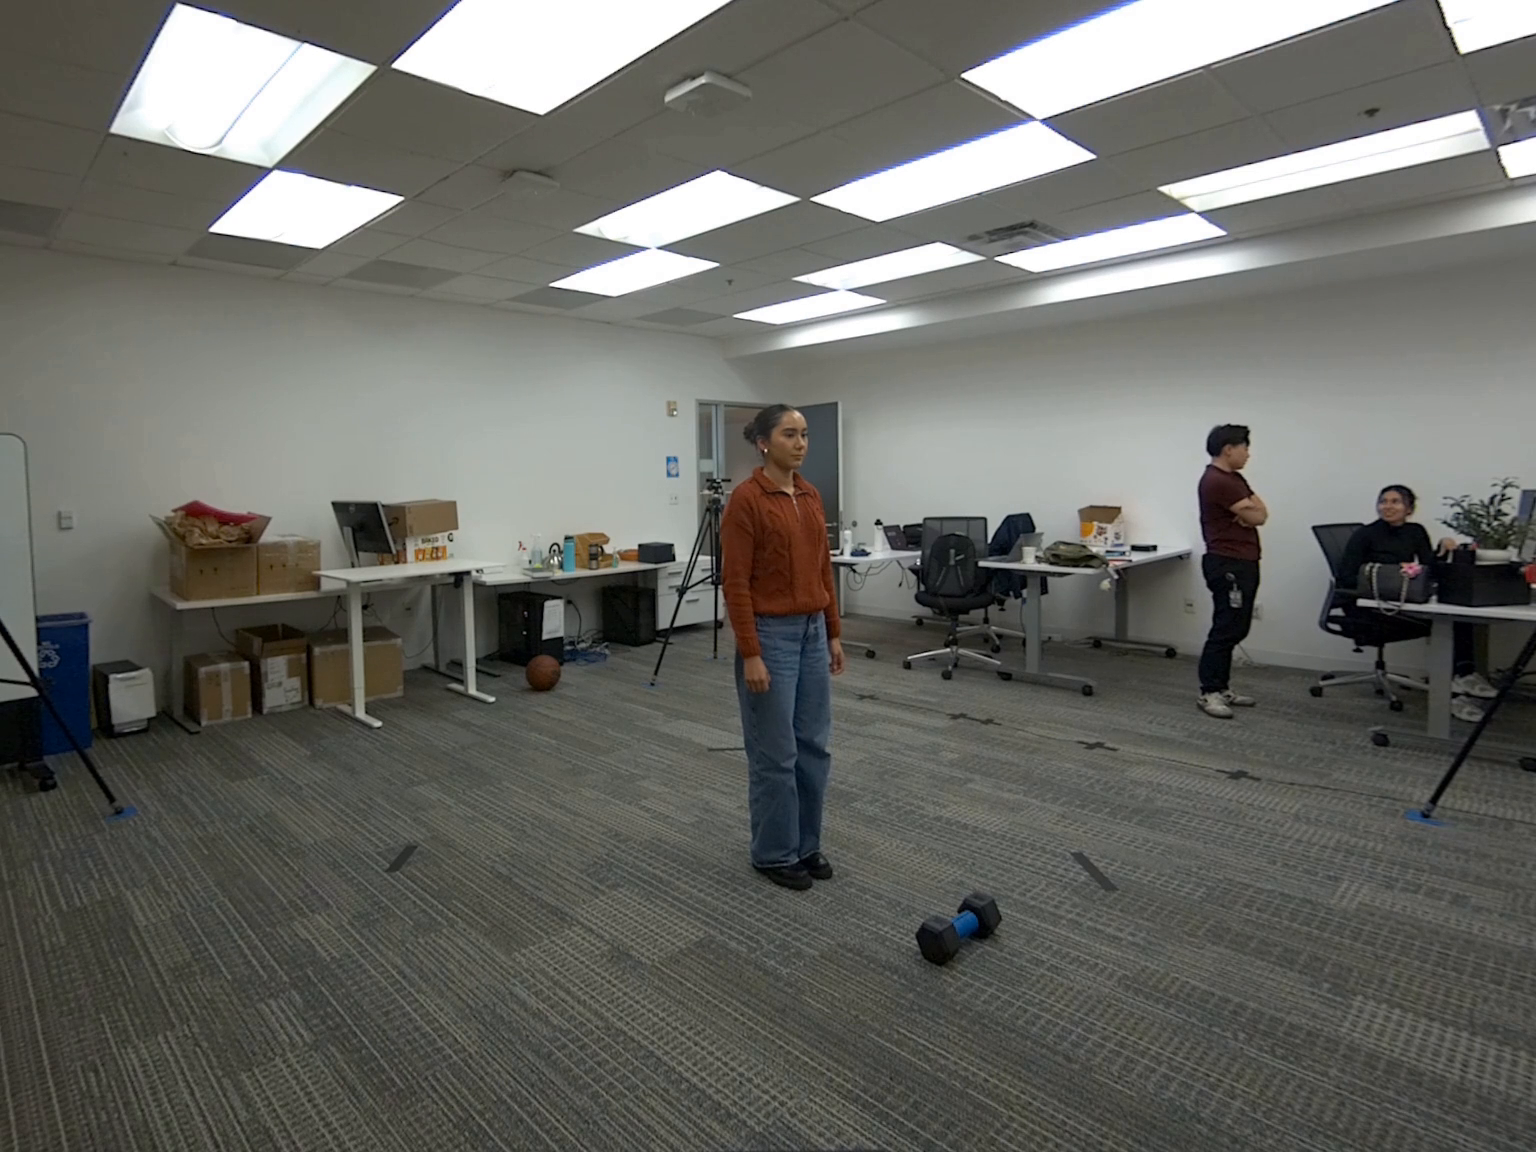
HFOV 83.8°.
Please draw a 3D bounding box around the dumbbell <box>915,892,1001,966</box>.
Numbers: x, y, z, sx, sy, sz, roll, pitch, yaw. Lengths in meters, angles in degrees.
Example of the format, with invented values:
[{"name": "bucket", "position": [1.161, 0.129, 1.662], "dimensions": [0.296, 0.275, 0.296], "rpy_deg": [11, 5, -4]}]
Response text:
[{"name": "dumbbell", "position": [0.576, 1.047, 2.536], "dimensions": [0.286, 0.125, 0.109], "rpy_deg": [-6, -23, -41]}]
